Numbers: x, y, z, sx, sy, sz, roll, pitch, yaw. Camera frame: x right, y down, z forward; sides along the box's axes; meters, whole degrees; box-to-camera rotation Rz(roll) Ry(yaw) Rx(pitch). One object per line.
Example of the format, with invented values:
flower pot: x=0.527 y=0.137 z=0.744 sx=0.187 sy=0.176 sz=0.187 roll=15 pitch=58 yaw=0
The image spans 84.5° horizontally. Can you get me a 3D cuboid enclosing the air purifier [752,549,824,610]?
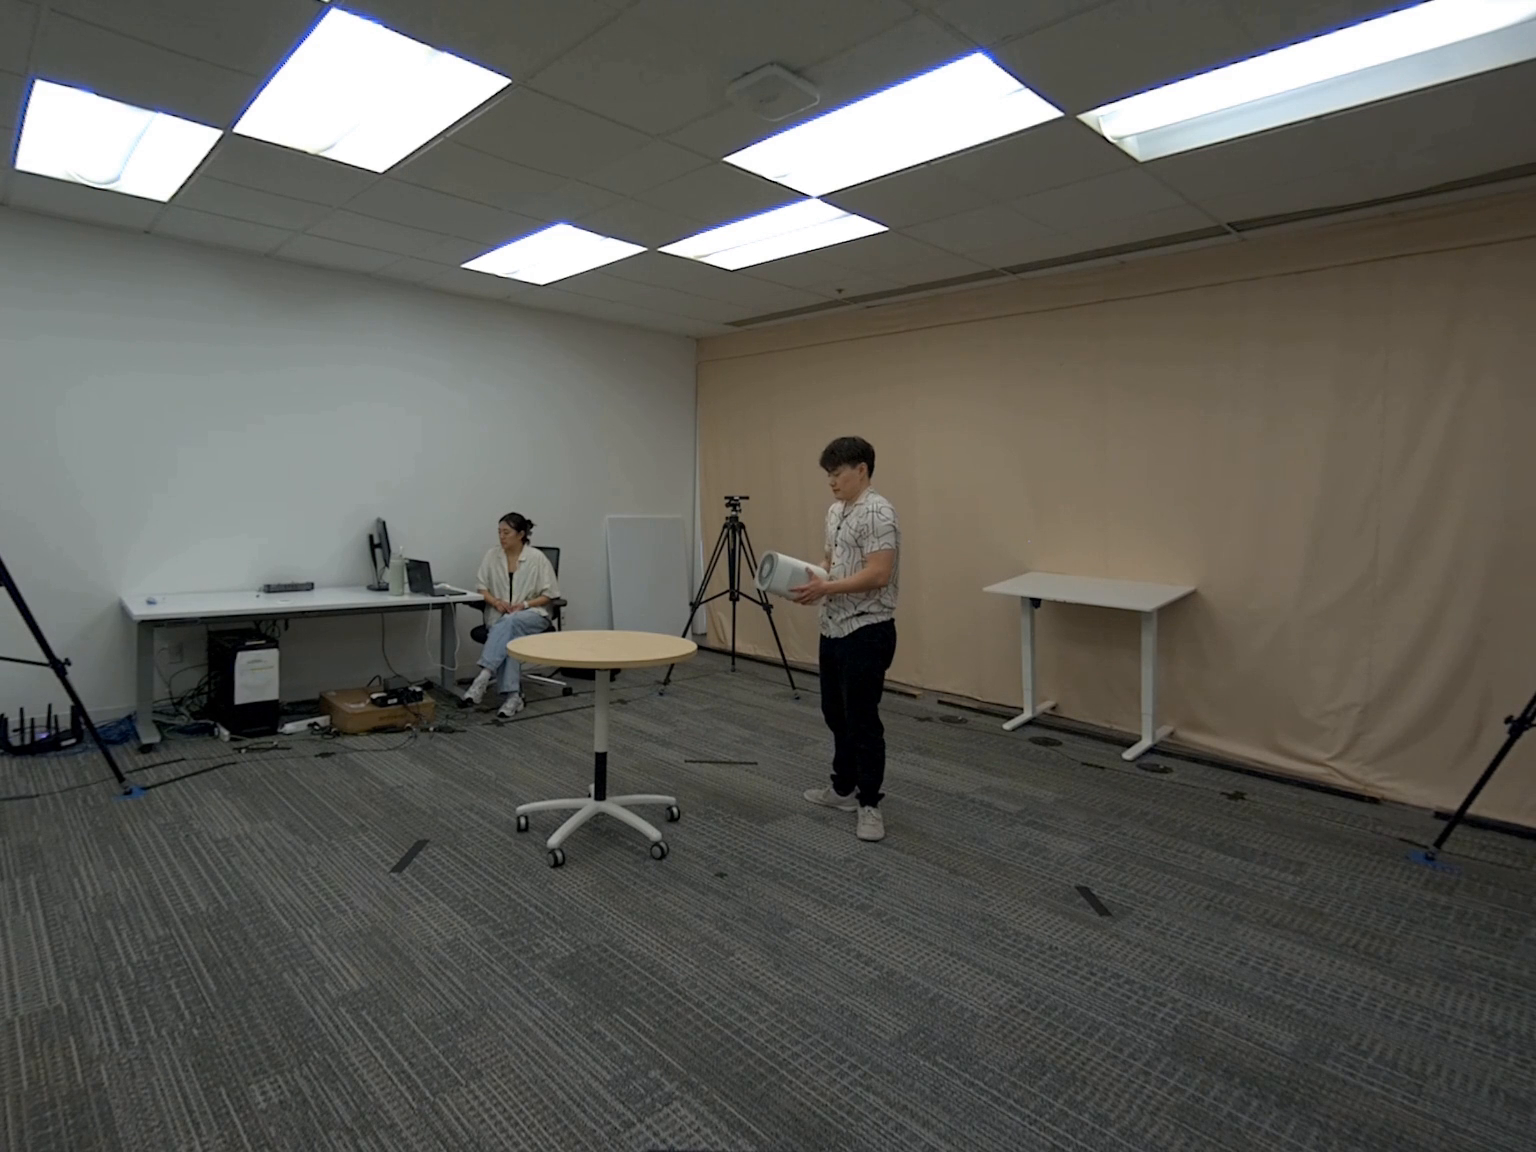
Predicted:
air purifier: x=0.106 y=0.014 z=3.580 sx=0.260 sy=0.172 sz=0.174 roll=18 pitch=-1 yaw=-23
